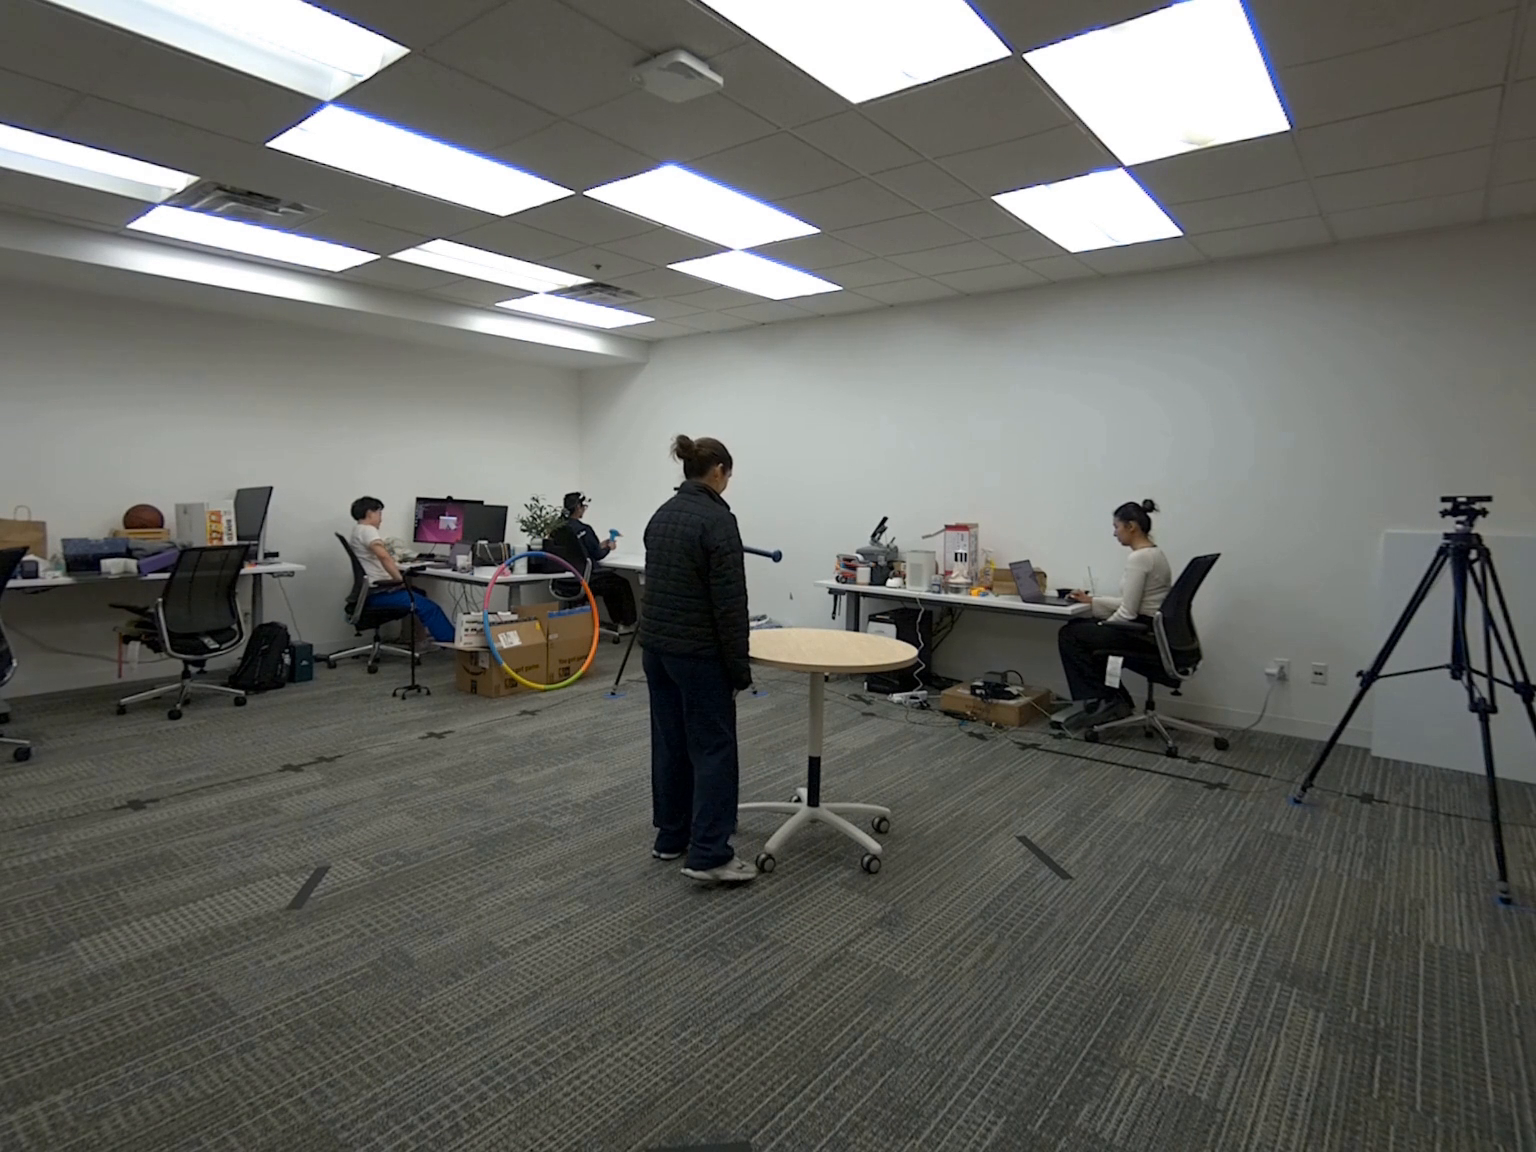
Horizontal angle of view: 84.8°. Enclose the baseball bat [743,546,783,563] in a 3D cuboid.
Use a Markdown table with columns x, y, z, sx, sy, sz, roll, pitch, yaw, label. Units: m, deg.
| x | y | z | sx | sy | sz | roll | pitch | yaw | label |
| --- | --- | --- | --- | --- | --- | --- | --- | --- | --- |
| -0.132 | -0.126 | 3.488 | 0.086 | 0.088 | 0.564 | -3 | 12 | -42 | baseball bat |
